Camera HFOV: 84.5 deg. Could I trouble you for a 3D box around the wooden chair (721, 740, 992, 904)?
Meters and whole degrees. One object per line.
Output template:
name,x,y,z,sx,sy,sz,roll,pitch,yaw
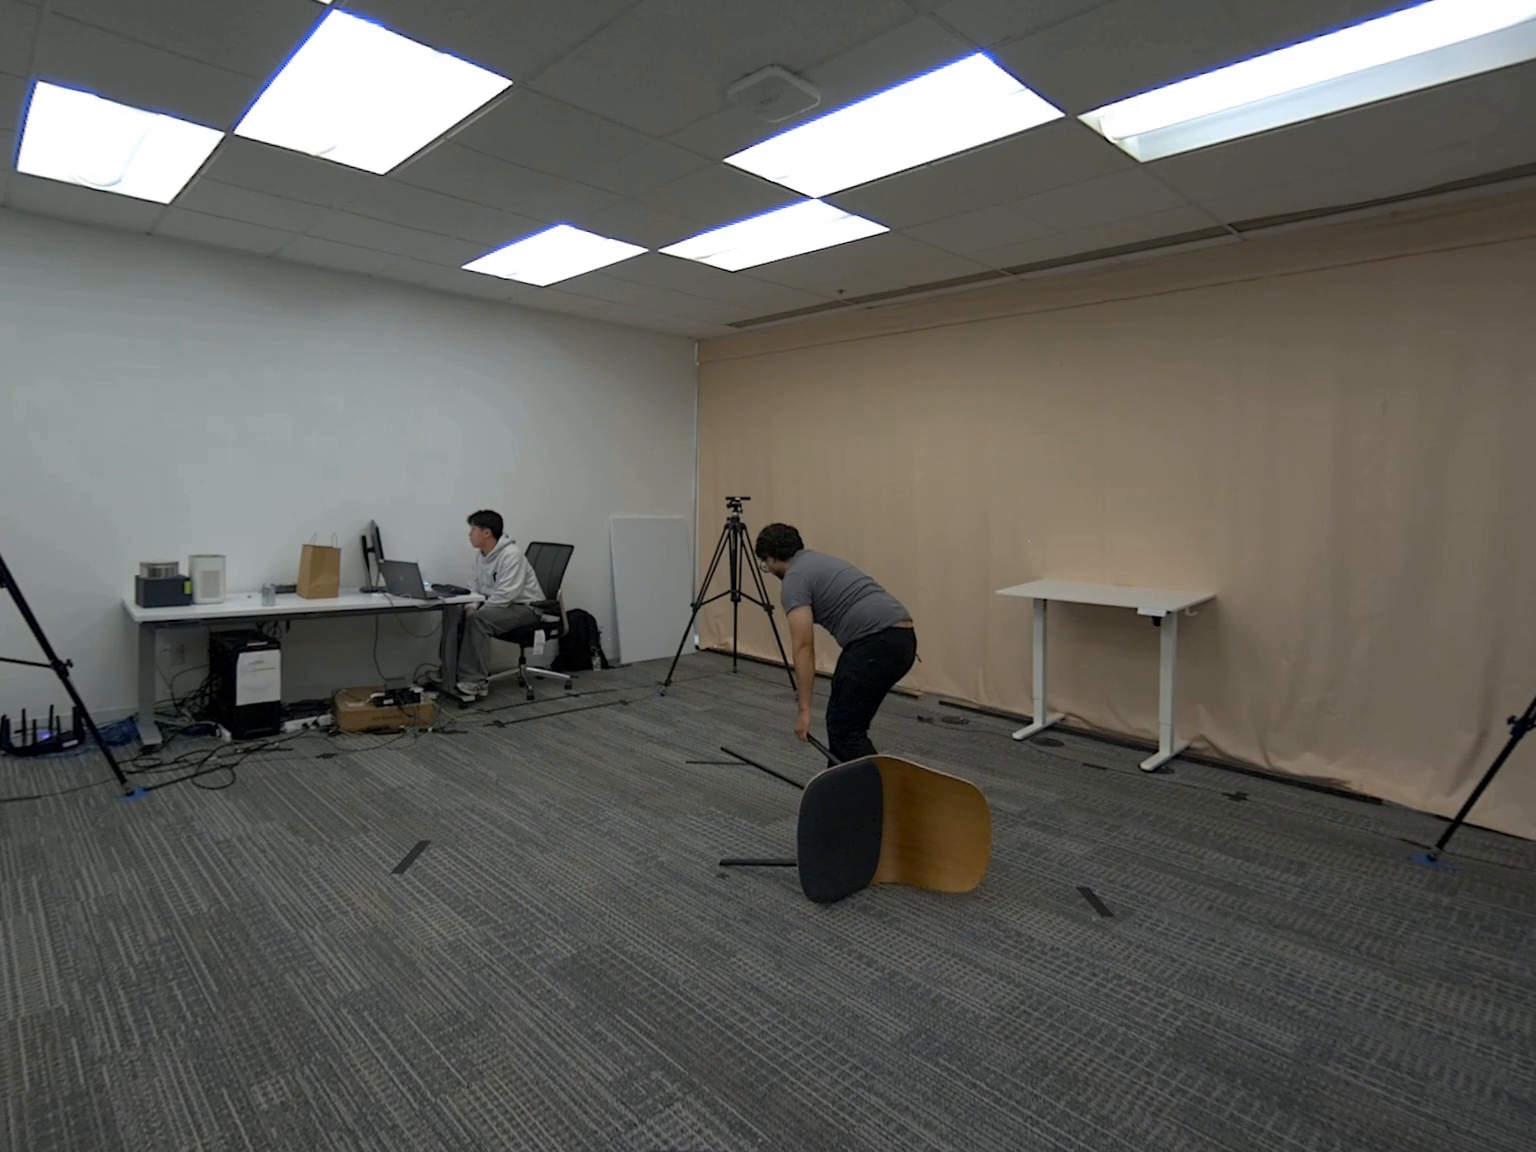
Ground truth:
wooden chair,0.265,0.891,3.018,0.899,0.477,0.511,4,5,42
